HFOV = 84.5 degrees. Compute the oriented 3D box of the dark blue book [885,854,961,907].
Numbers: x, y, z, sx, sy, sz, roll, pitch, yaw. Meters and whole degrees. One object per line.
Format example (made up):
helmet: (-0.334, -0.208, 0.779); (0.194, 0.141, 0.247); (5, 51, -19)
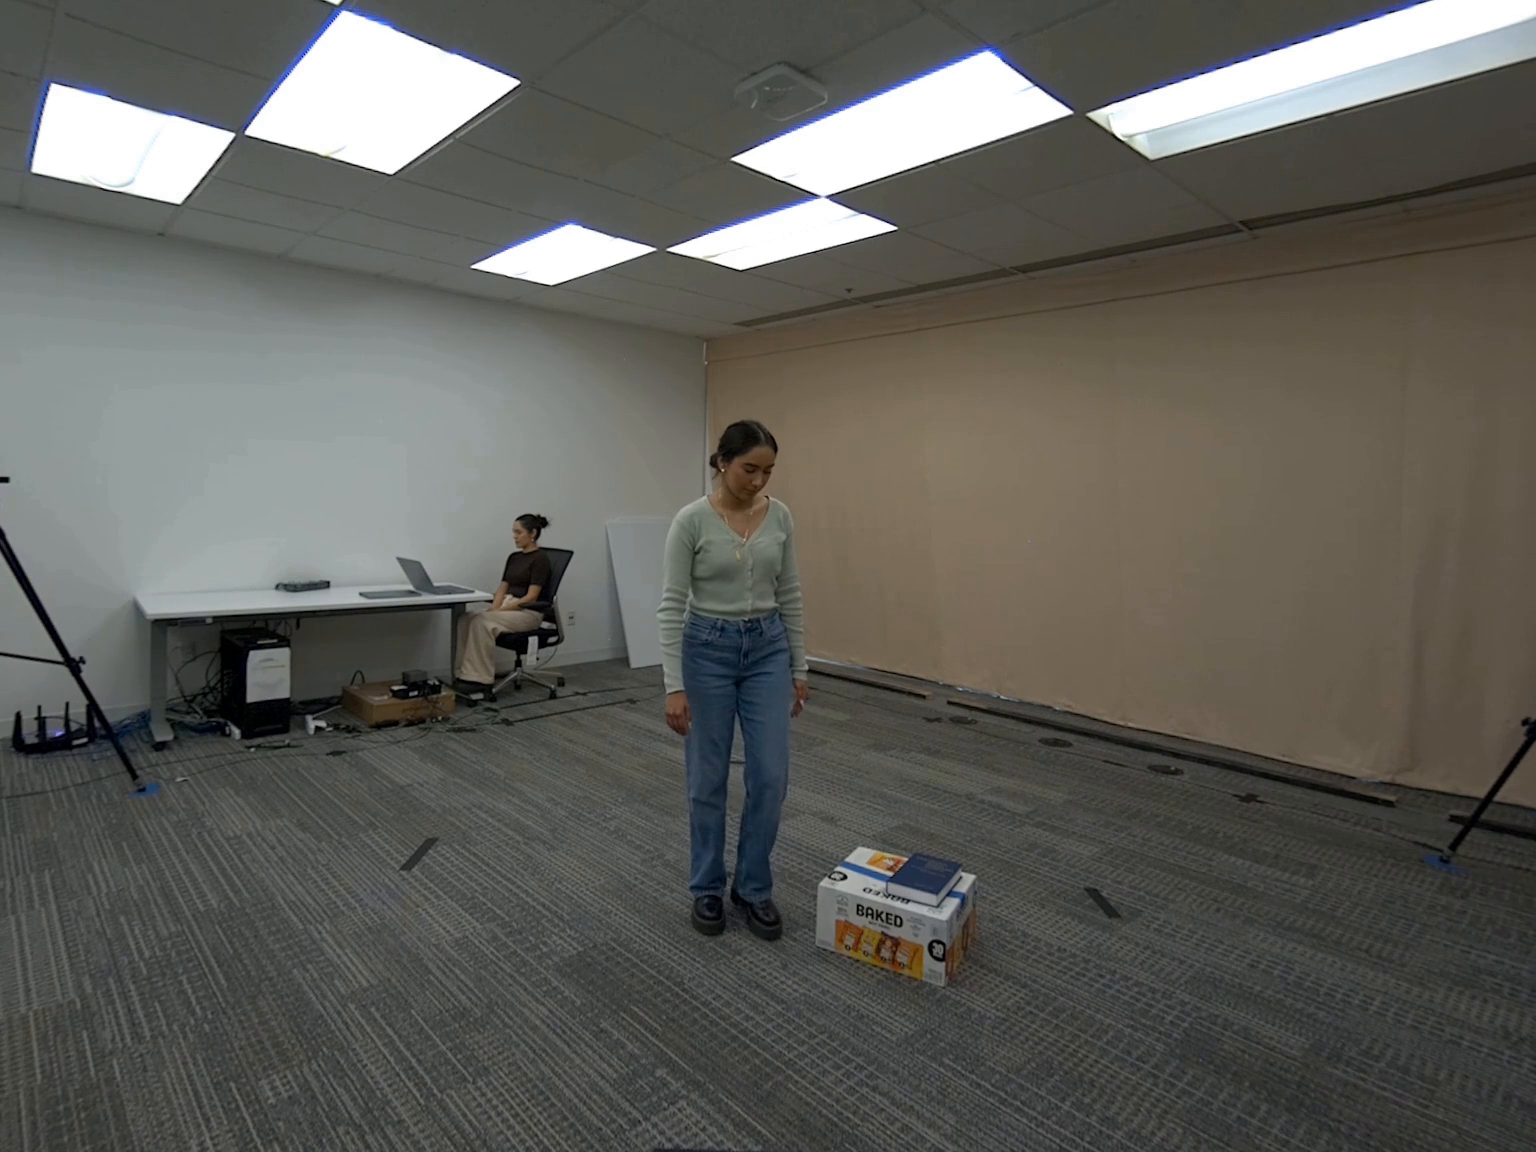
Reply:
dark blue book: (0.484, 0.941, 2.619); (0.167, 0.045, 0.240); (5, 7, 30)
